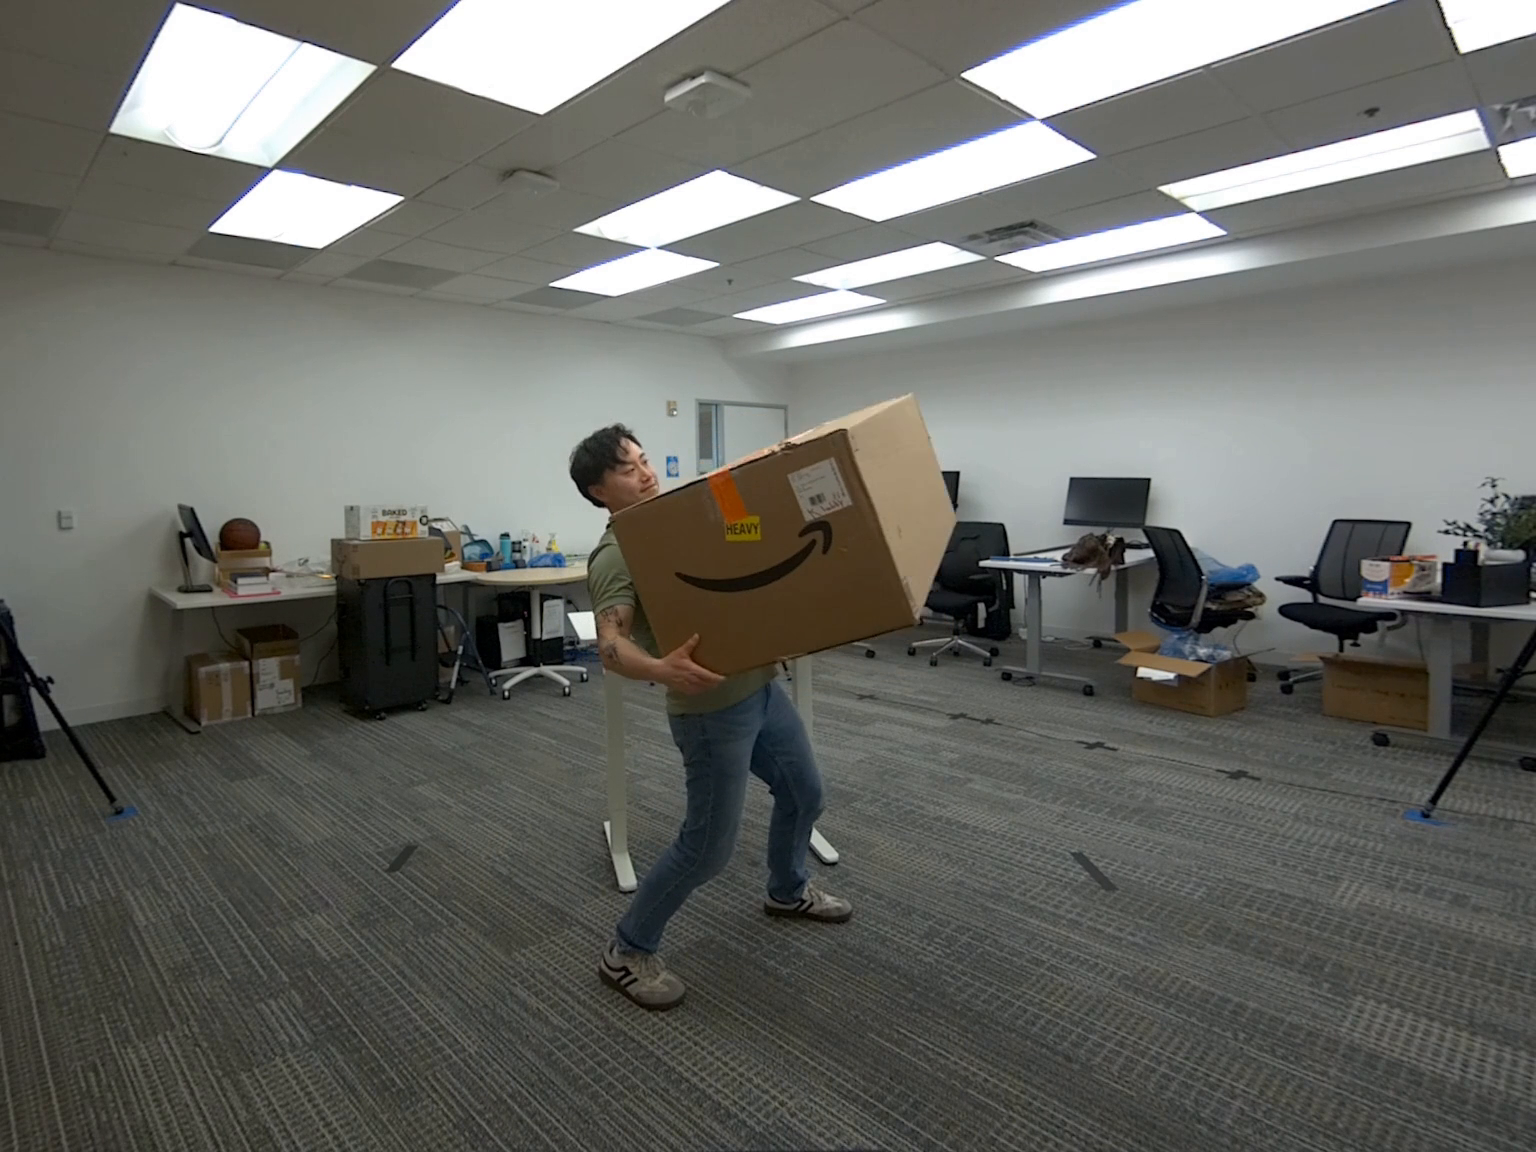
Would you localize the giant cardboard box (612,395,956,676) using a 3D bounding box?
[{"bbox_3d":[0.114,-0.153,2.266,0.585,0.423,1.021,-19,9,21],"label":"giant cardboard box"}]
